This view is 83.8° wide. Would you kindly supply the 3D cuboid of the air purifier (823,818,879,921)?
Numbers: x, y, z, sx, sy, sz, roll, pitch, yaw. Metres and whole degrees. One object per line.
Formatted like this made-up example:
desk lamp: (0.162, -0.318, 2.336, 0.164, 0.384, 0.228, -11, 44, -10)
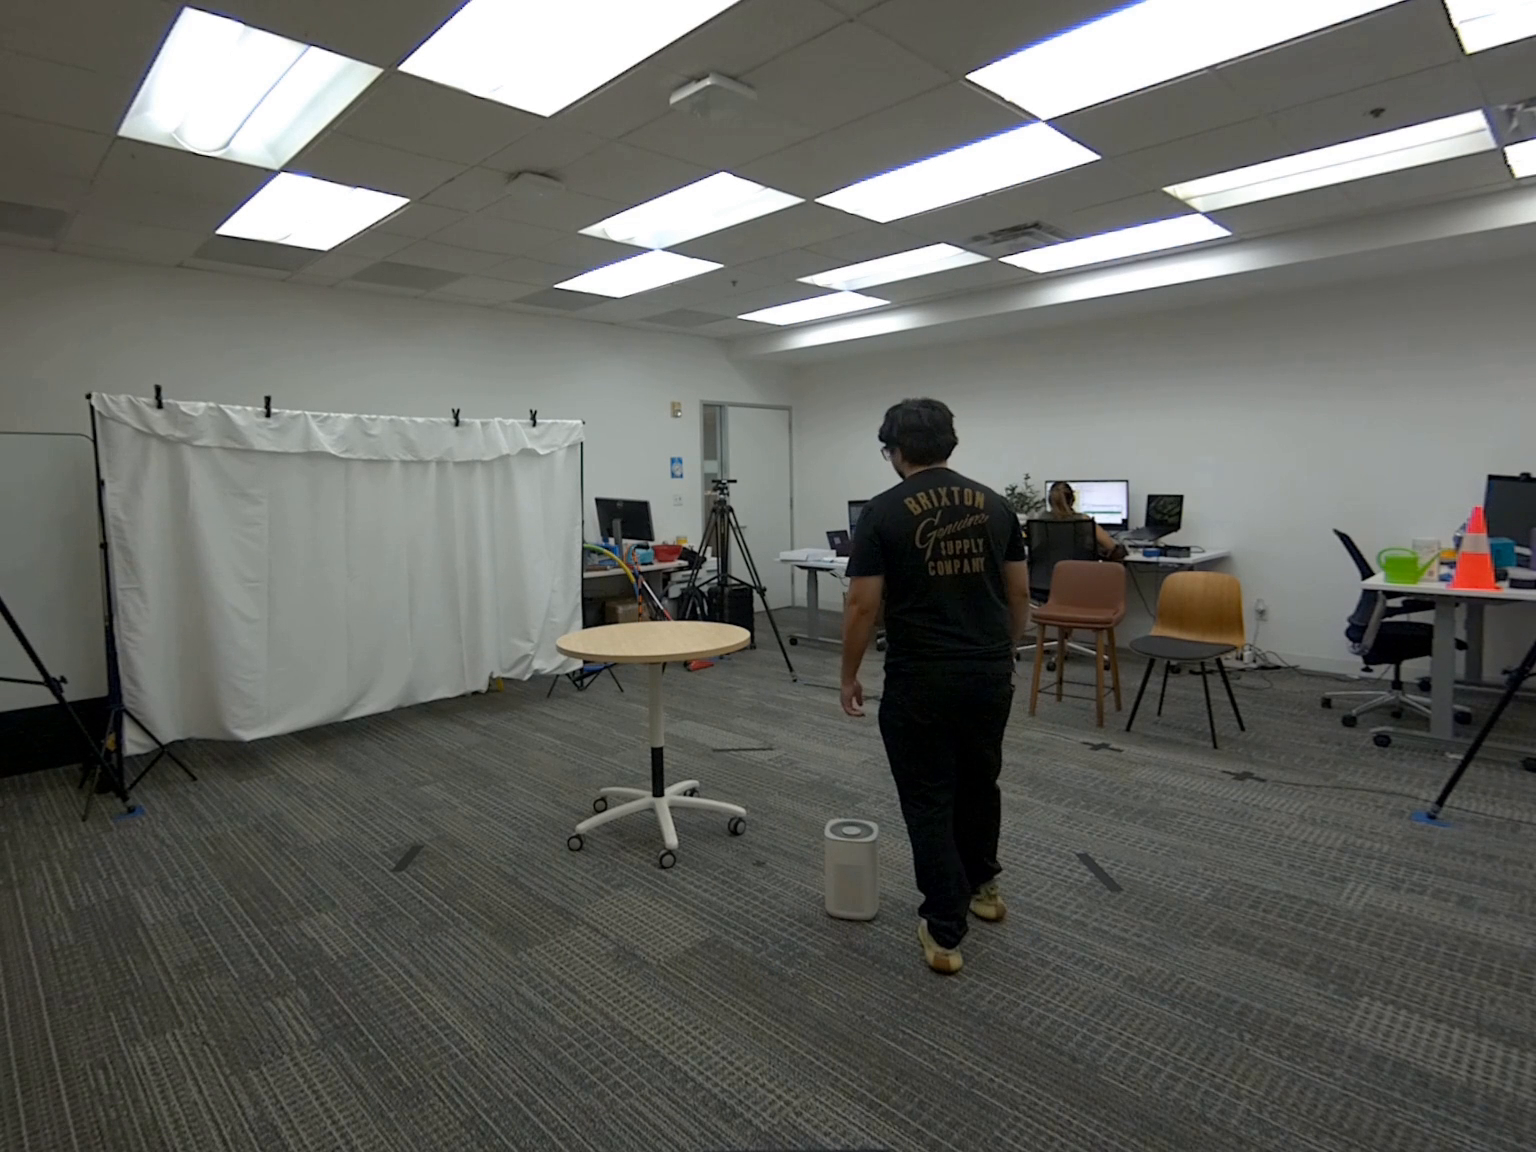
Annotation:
air purifier: (0.277, 0.948, 2.759, 0.176, 0.261, 0.166, 0, 5, 15)
